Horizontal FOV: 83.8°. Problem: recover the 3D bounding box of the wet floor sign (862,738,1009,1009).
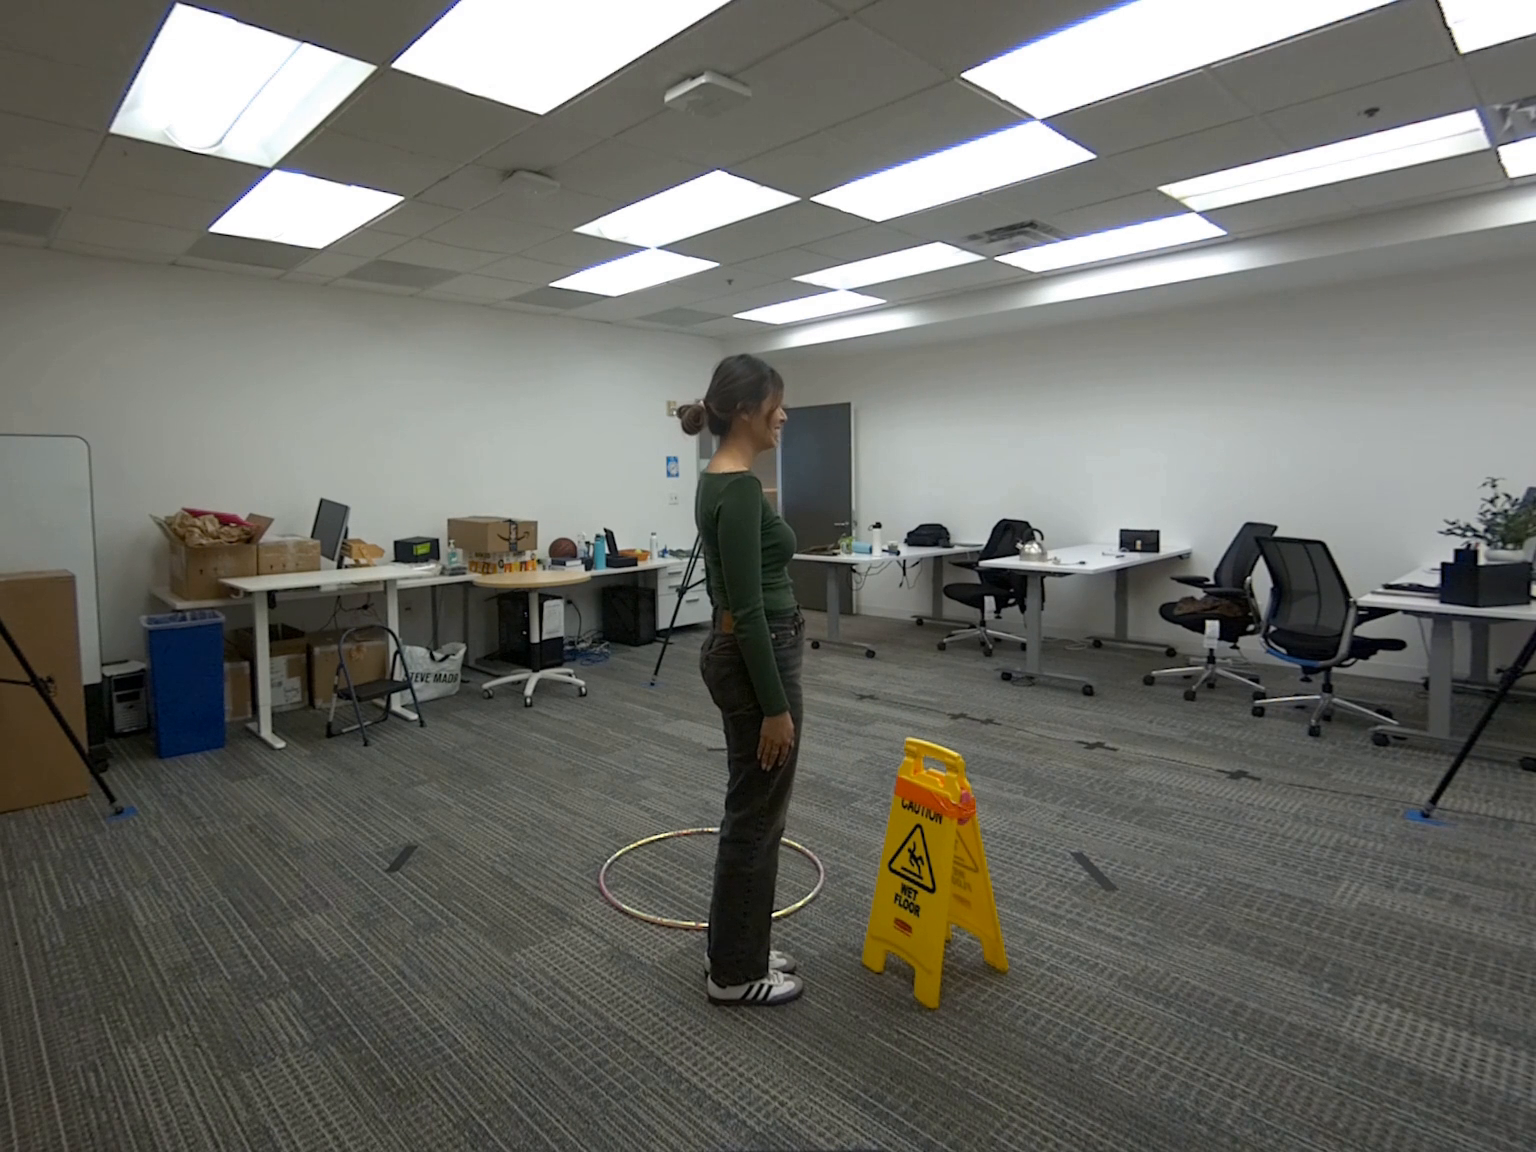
[{"bbox_3d":[0.468,0.793,2.408,0.282,0.644,0.290,-4,5,-36],"label":"wet floor sign"}]
